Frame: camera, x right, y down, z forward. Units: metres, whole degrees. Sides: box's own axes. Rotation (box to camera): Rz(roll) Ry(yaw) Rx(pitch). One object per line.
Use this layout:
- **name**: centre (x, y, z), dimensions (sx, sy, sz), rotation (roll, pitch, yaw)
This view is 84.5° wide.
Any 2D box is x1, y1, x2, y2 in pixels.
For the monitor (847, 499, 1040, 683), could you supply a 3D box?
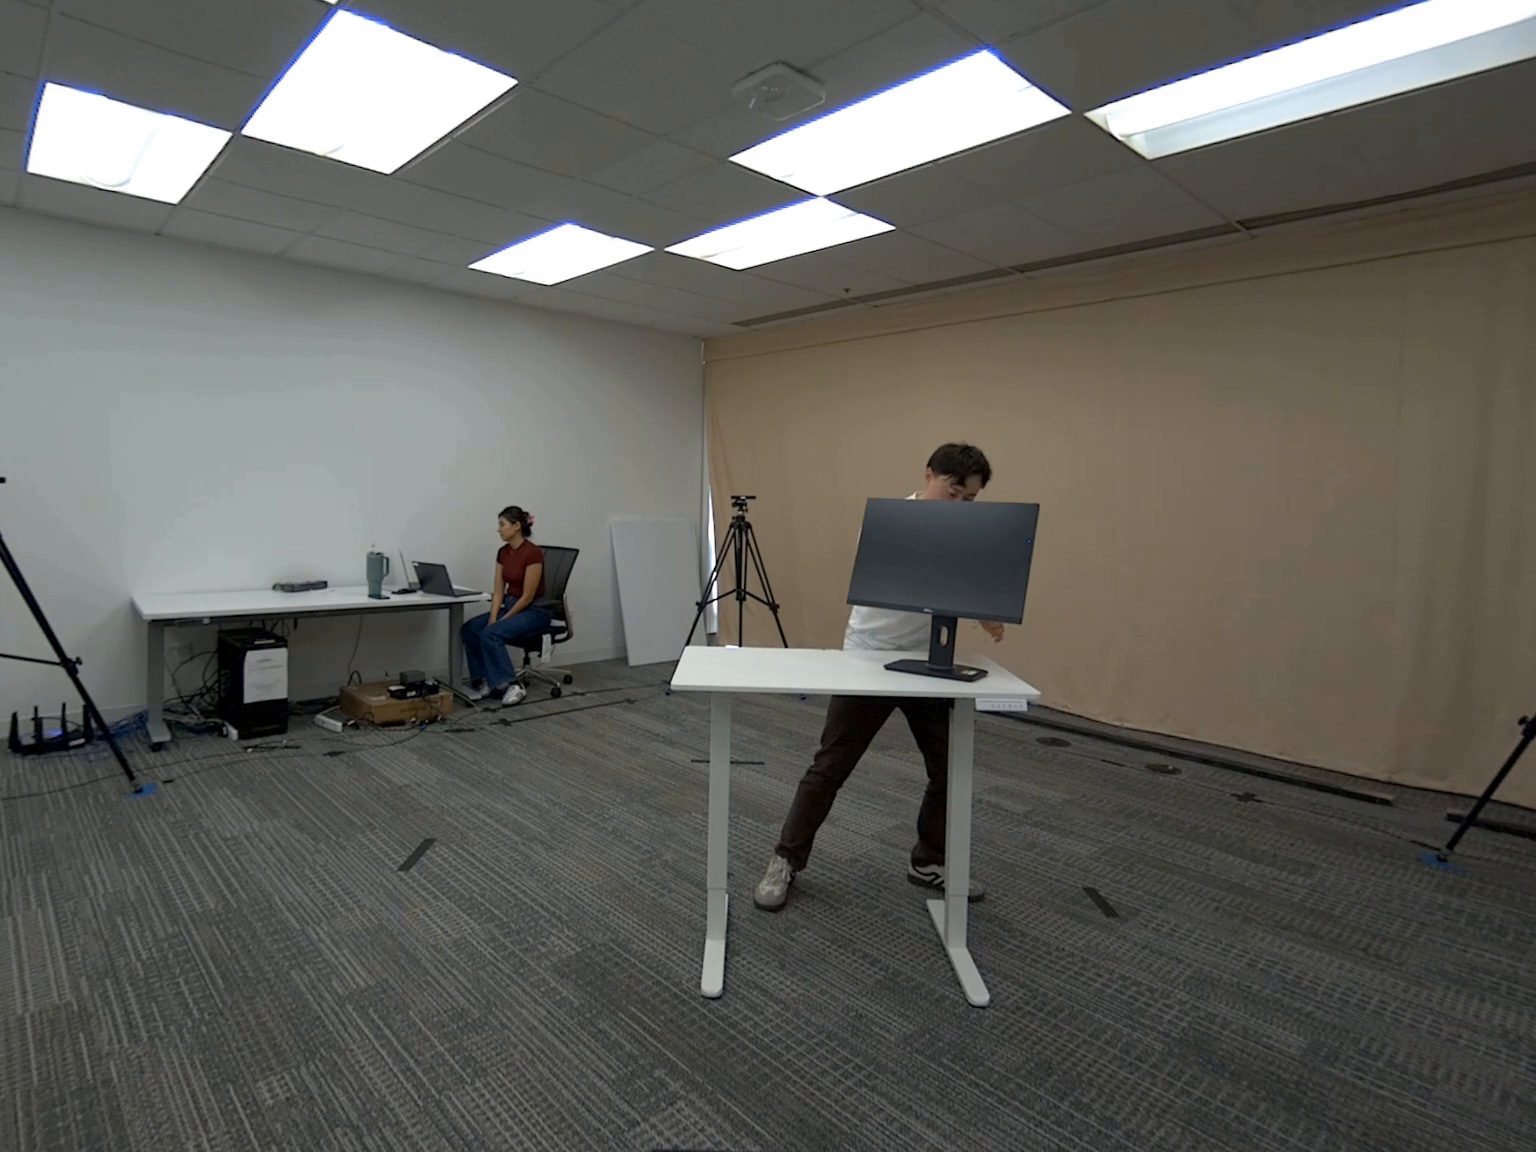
- **monitor**: centre (0.519, 0.037, 2.524), dimensions (0.551, 0.523, 0.183), rotation (5, -1, 30)
